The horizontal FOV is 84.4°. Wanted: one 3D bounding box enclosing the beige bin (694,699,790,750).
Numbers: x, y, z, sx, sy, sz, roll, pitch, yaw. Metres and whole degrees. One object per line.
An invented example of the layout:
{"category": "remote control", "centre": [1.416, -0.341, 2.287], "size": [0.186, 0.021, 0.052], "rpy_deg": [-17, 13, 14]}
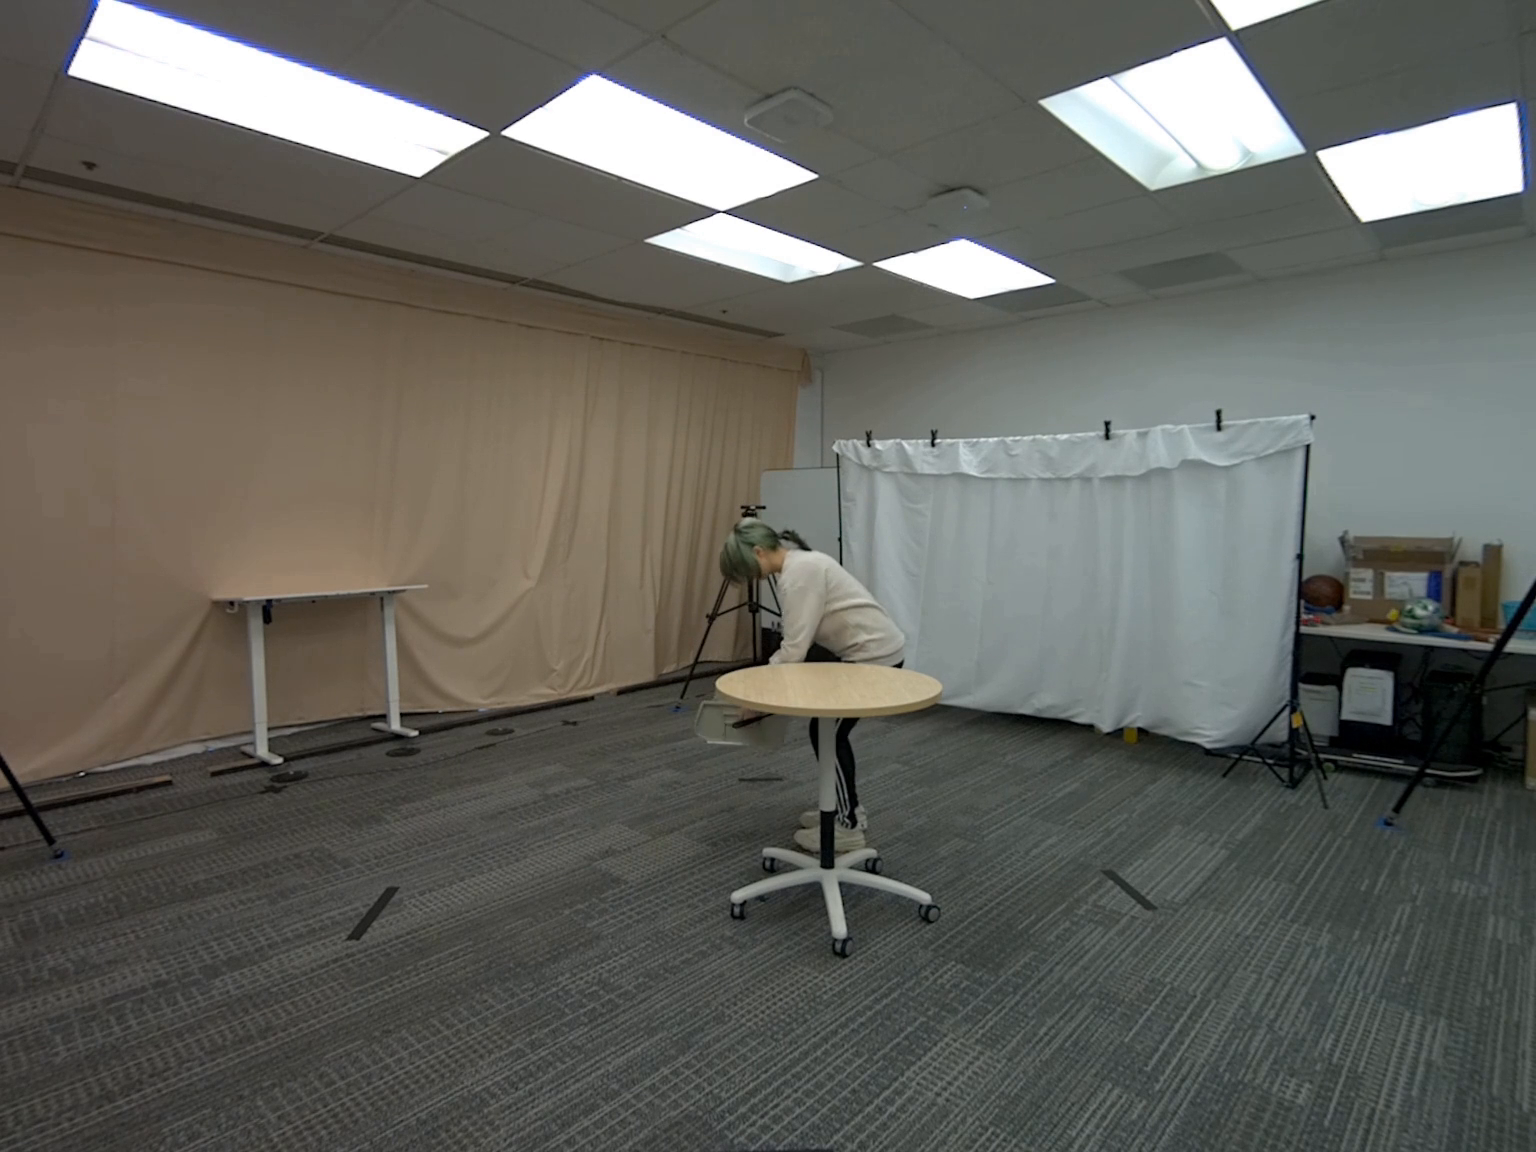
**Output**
{"category": "beige bin", "centre": [-0.086, 0.583, 3.631], "size": [0.382, 0.188, 0.419], "rpy_deg": [2, 7, 9]}
